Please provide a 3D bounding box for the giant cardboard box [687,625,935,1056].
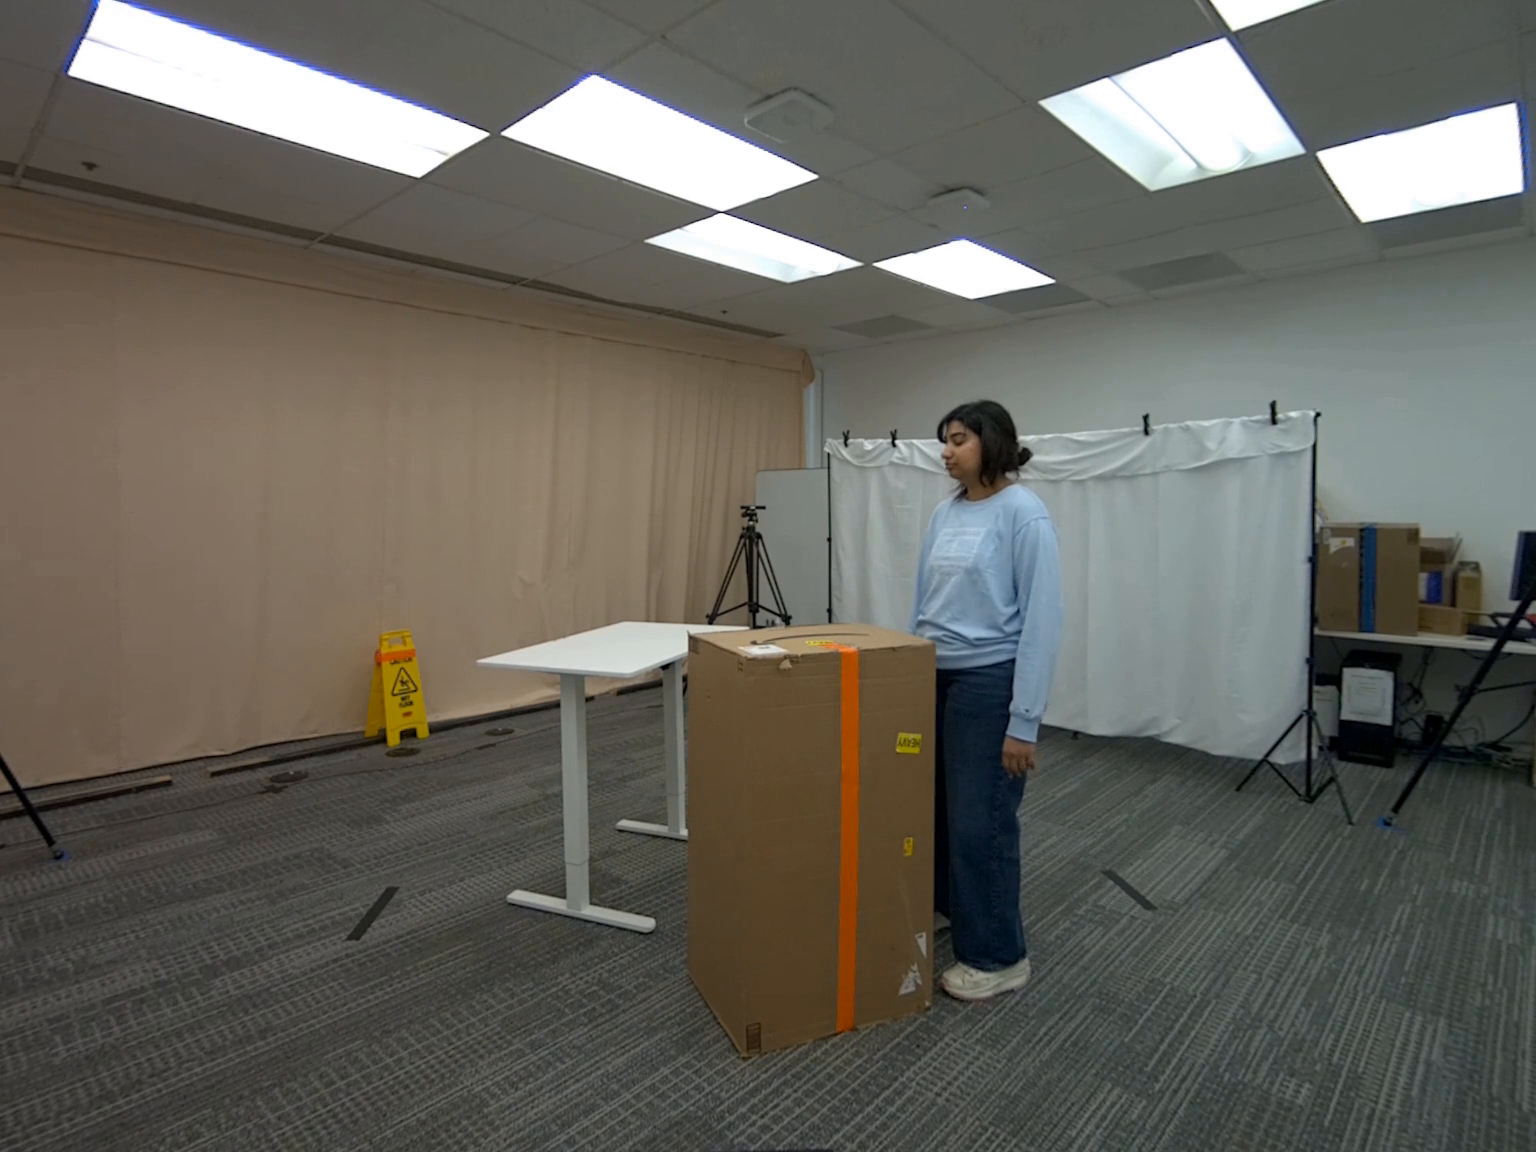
[{"bbox_3d":[0.111,0.688,2.391,0.564,1.023,0.437,-1,4,-24],"label":"giant cardboard box"}]
